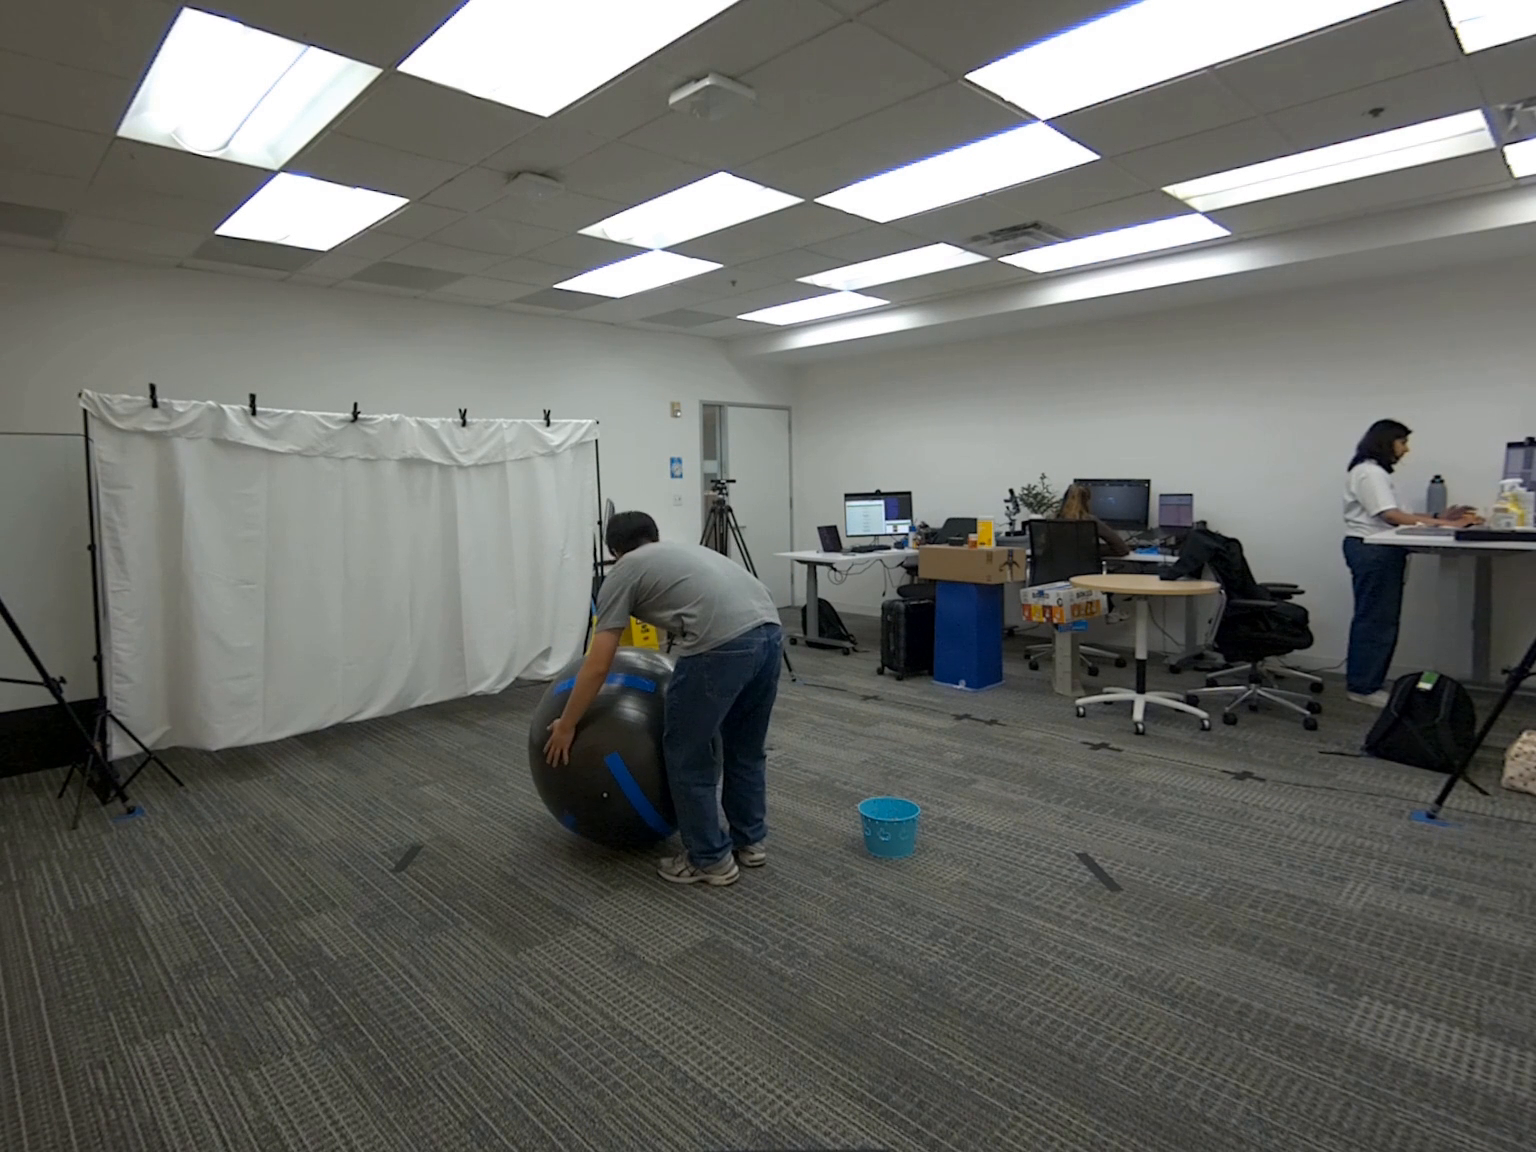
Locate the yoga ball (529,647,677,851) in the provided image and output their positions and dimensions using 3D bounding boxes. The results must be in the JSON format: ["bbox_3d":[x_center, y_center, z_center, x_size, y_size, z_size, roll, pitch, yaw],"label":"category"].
[{"bbox_3d":[-0.547,0.648,3.325,0.757,0.755,0.762,-1,5,-2],"label":"yoga ball"}]
